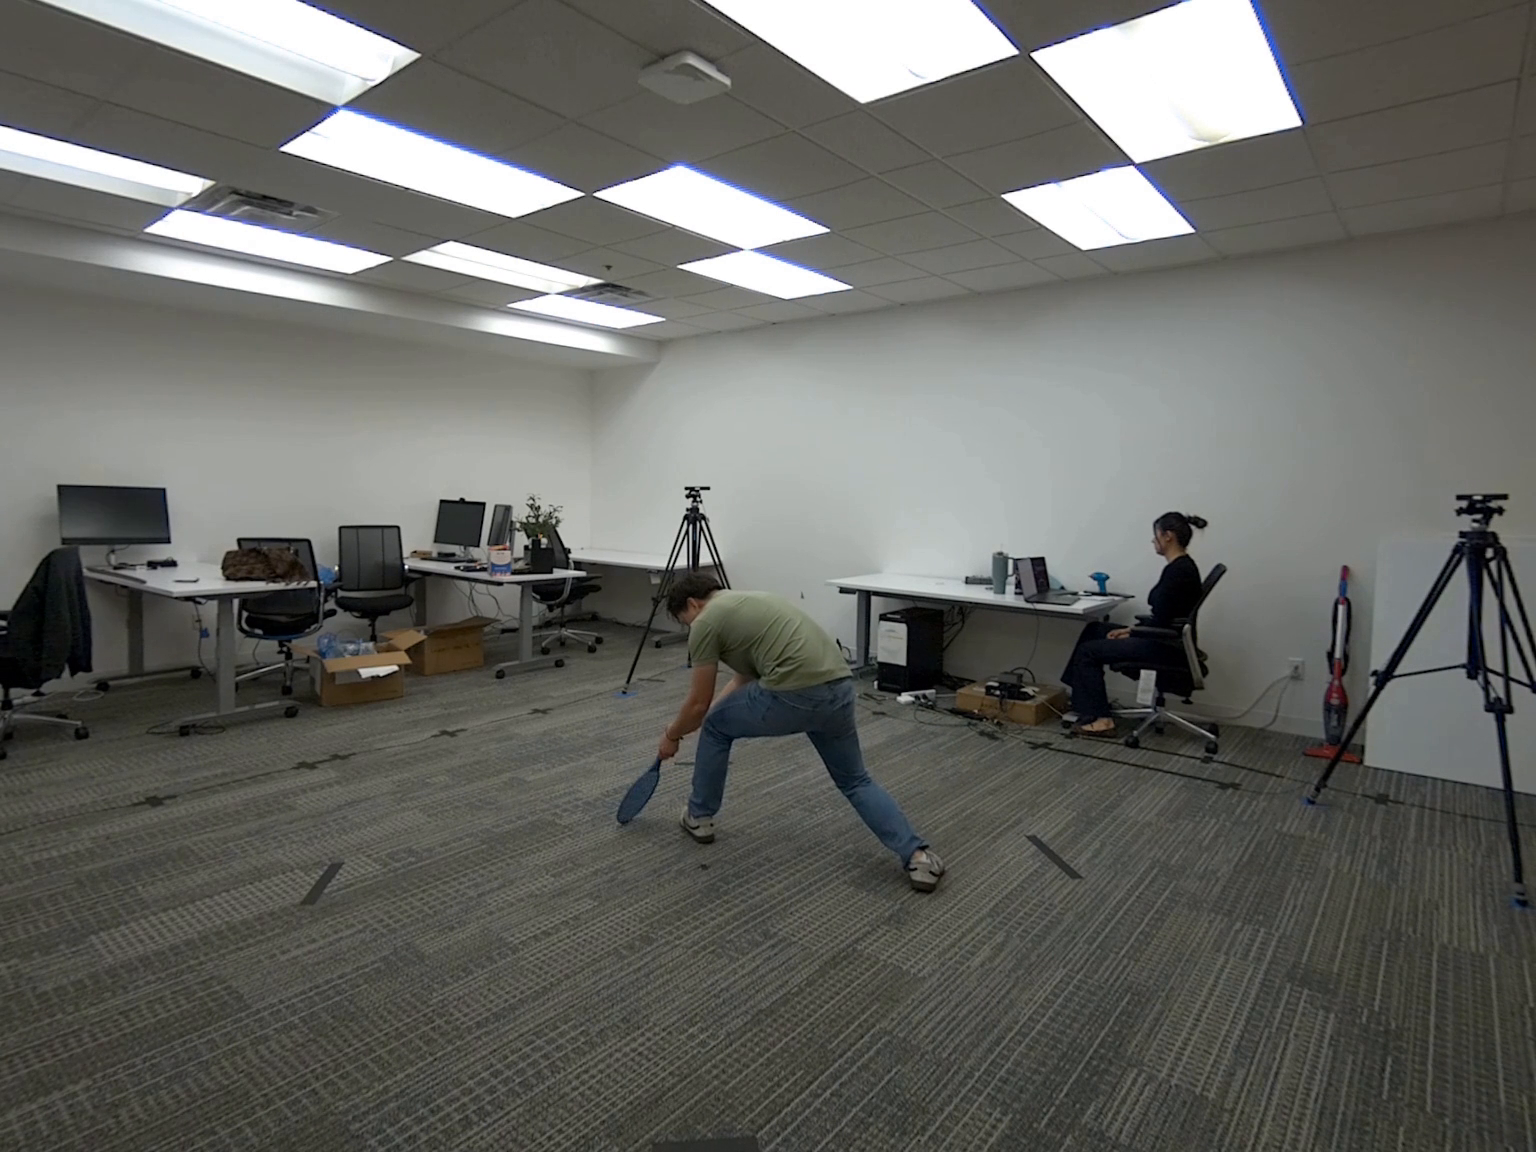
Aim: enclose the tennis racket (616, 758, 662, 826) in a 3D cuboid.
[{"bbox_3d":[-0.502,0.834,3.503,0.033,0.433,0.206,36,2,30],"label":"tennis racket"}]
